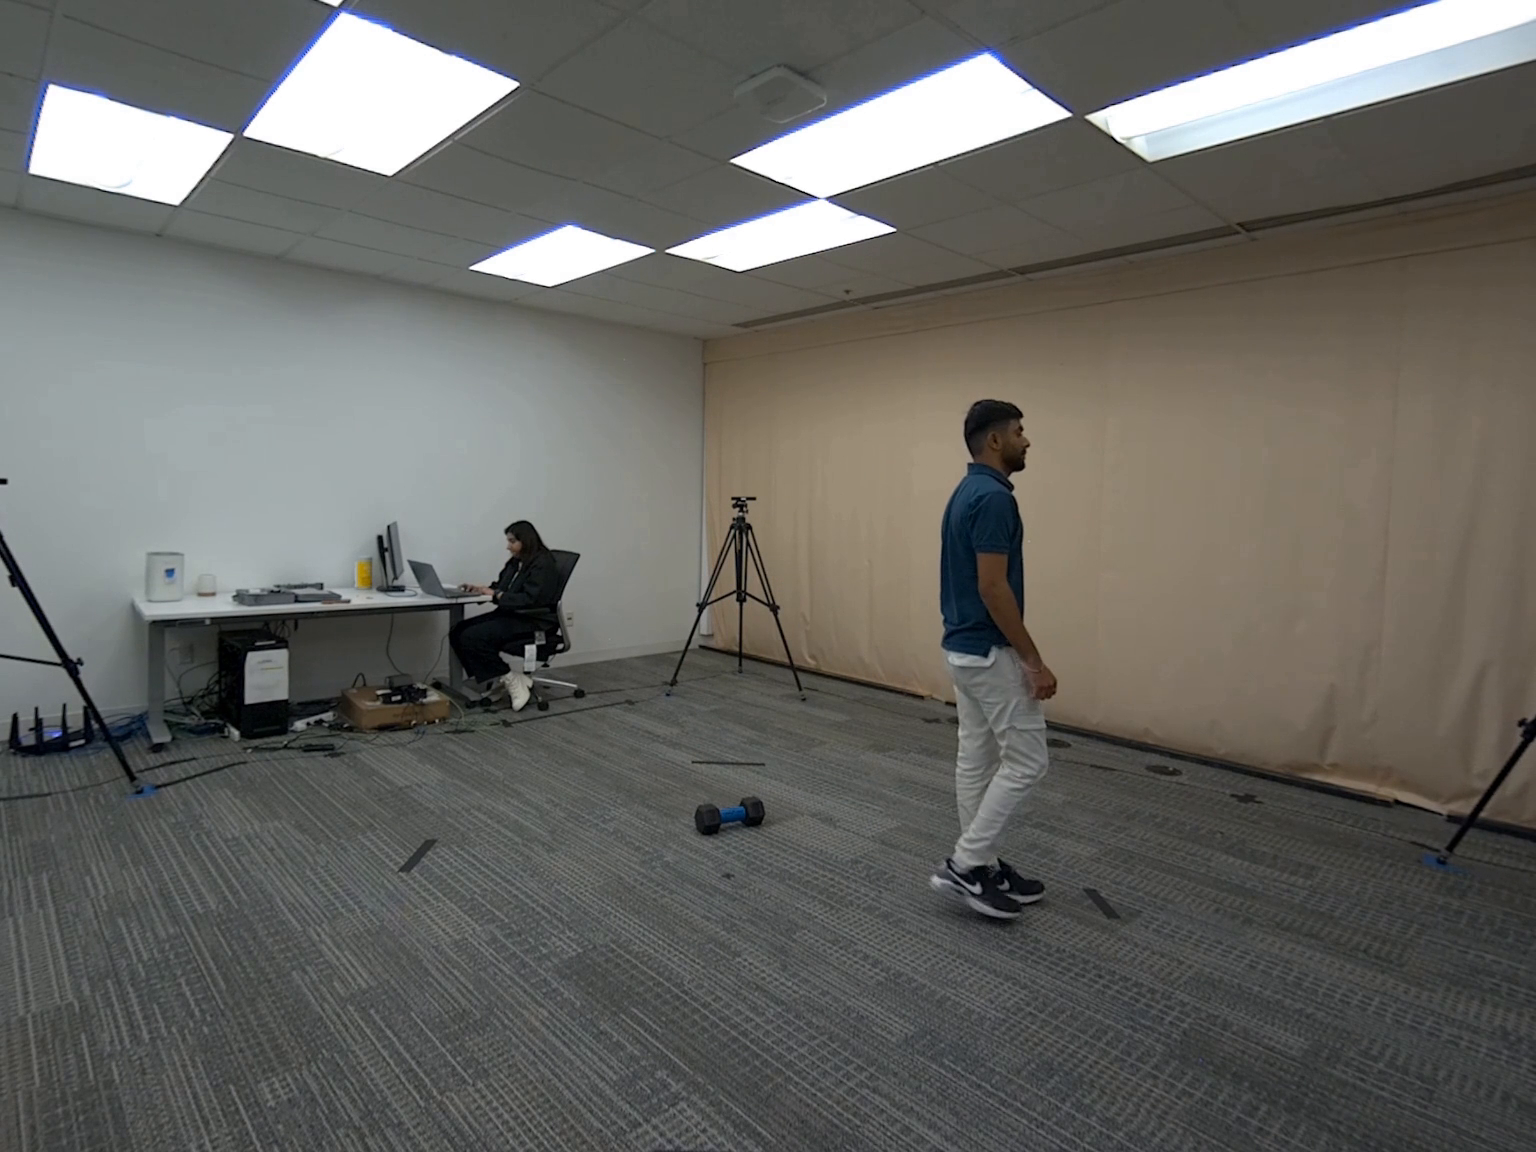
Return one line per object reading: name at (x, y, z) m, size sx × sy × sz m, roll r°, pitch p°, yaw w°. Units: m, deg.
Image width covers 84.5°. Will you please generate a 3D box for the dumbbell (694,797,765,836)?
dumbbell at (-0.172, 1.012, 3.562) m, size 0.288 × 0.125 × 0.108 m, roll -2°, pitch -27°, yaw -30°
